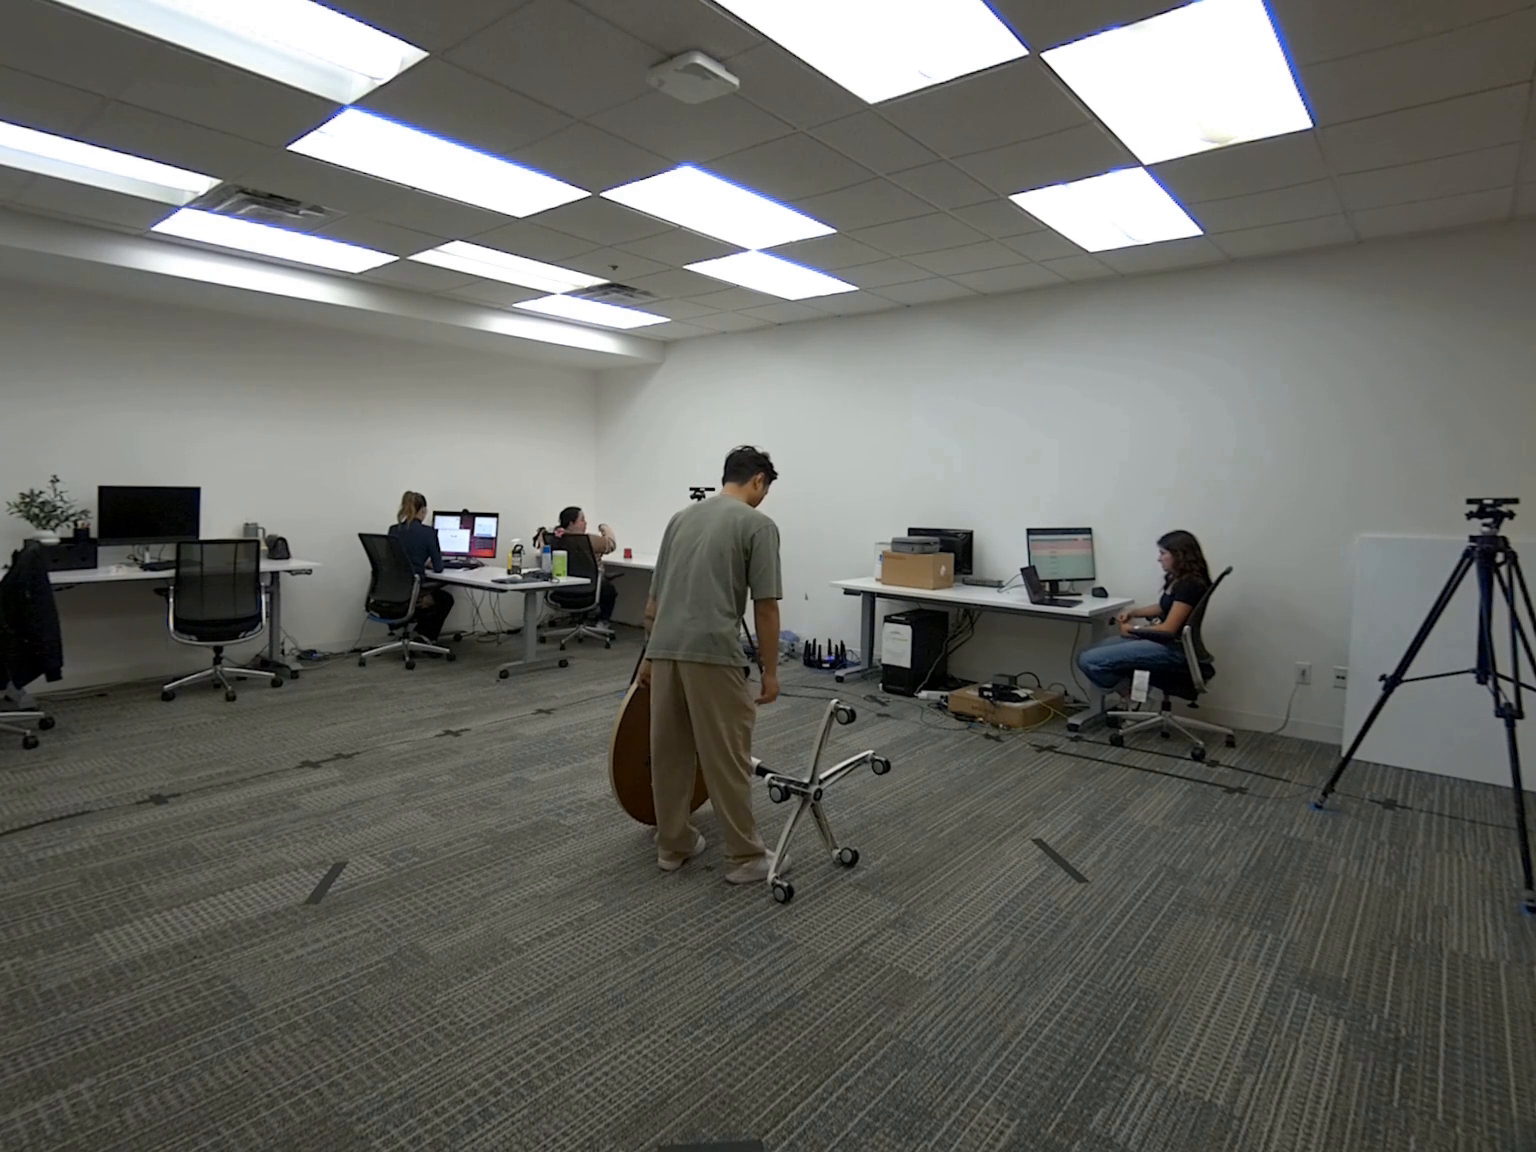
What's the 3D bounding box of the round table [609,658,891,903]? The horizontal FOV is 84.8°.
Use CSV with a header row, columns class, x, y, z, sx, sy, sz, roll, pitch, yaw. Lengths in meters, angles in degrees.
class,x,y,z,sx,sy,sz,roll,pitch,yaw
round table,-0.063,0.721,3.249,0.816,0.779,0.762,14,11,40
